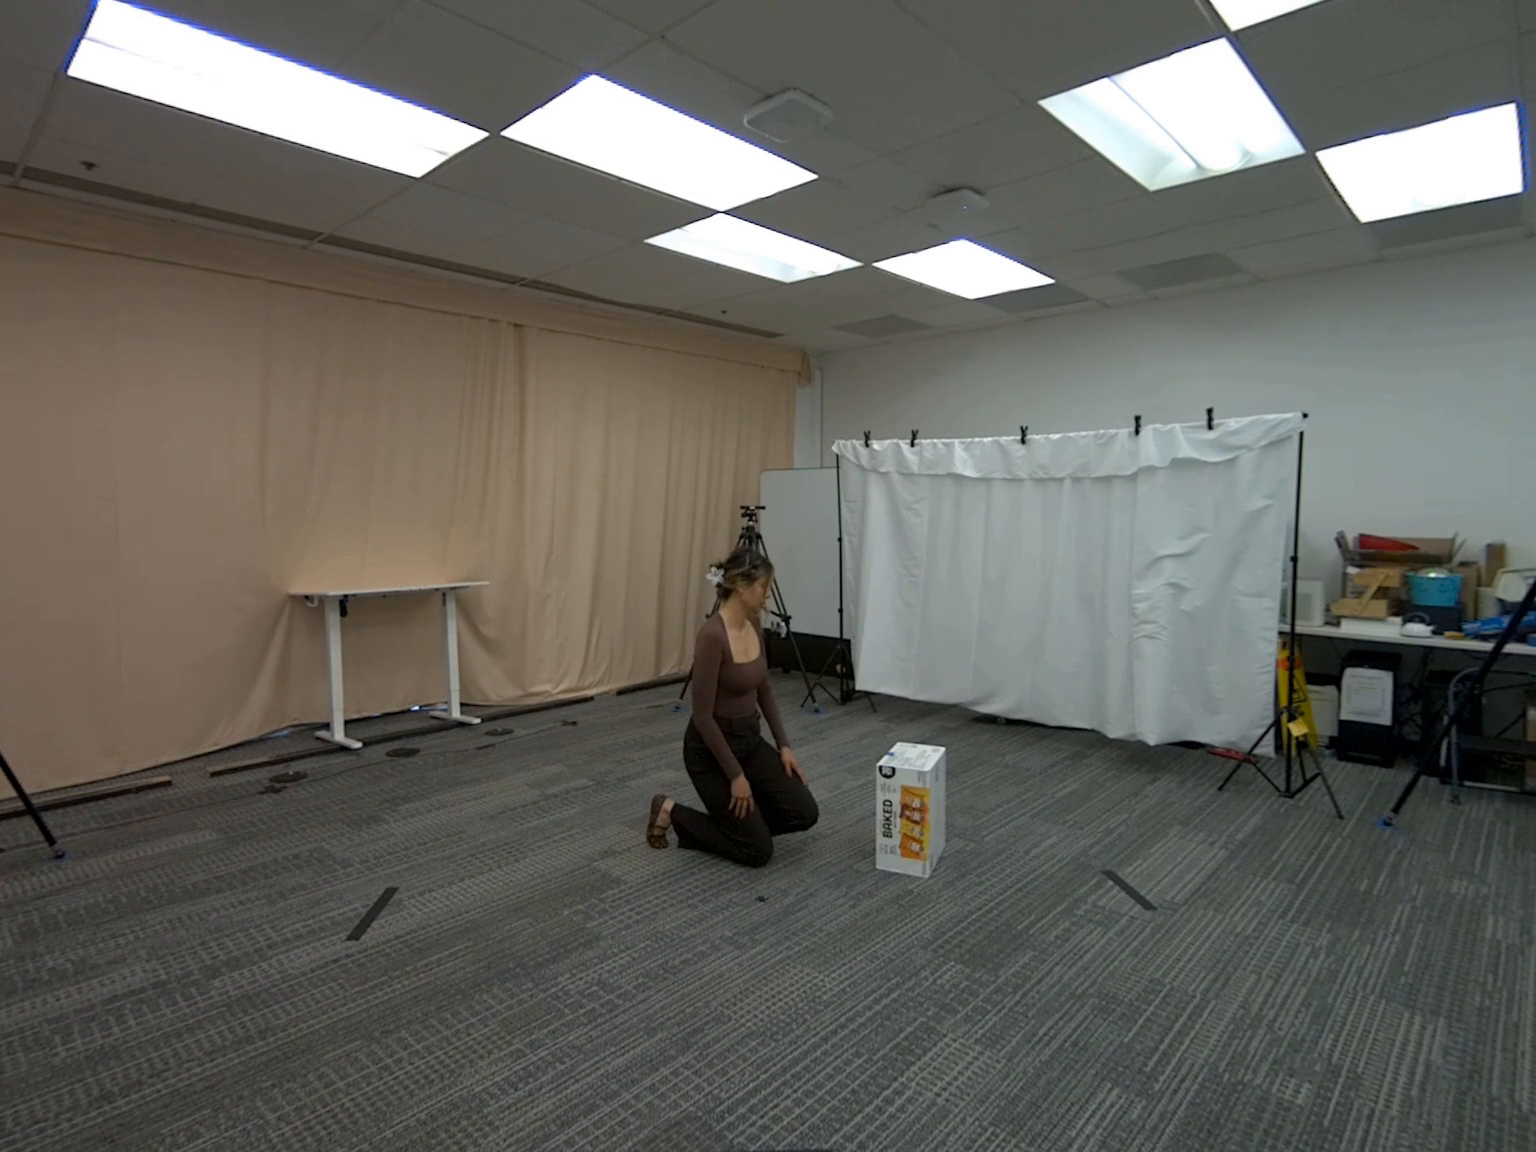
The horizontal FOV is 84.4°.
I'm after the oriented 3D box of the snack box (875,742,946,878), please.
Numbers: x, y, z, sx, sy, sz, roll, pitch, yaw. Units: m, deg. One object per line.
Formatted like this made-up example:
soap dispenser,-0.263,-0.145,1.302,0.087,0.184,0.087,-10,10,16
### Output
snack box,0.570,0.907,3.329,0.211,0.404,0.333,1,4,23
